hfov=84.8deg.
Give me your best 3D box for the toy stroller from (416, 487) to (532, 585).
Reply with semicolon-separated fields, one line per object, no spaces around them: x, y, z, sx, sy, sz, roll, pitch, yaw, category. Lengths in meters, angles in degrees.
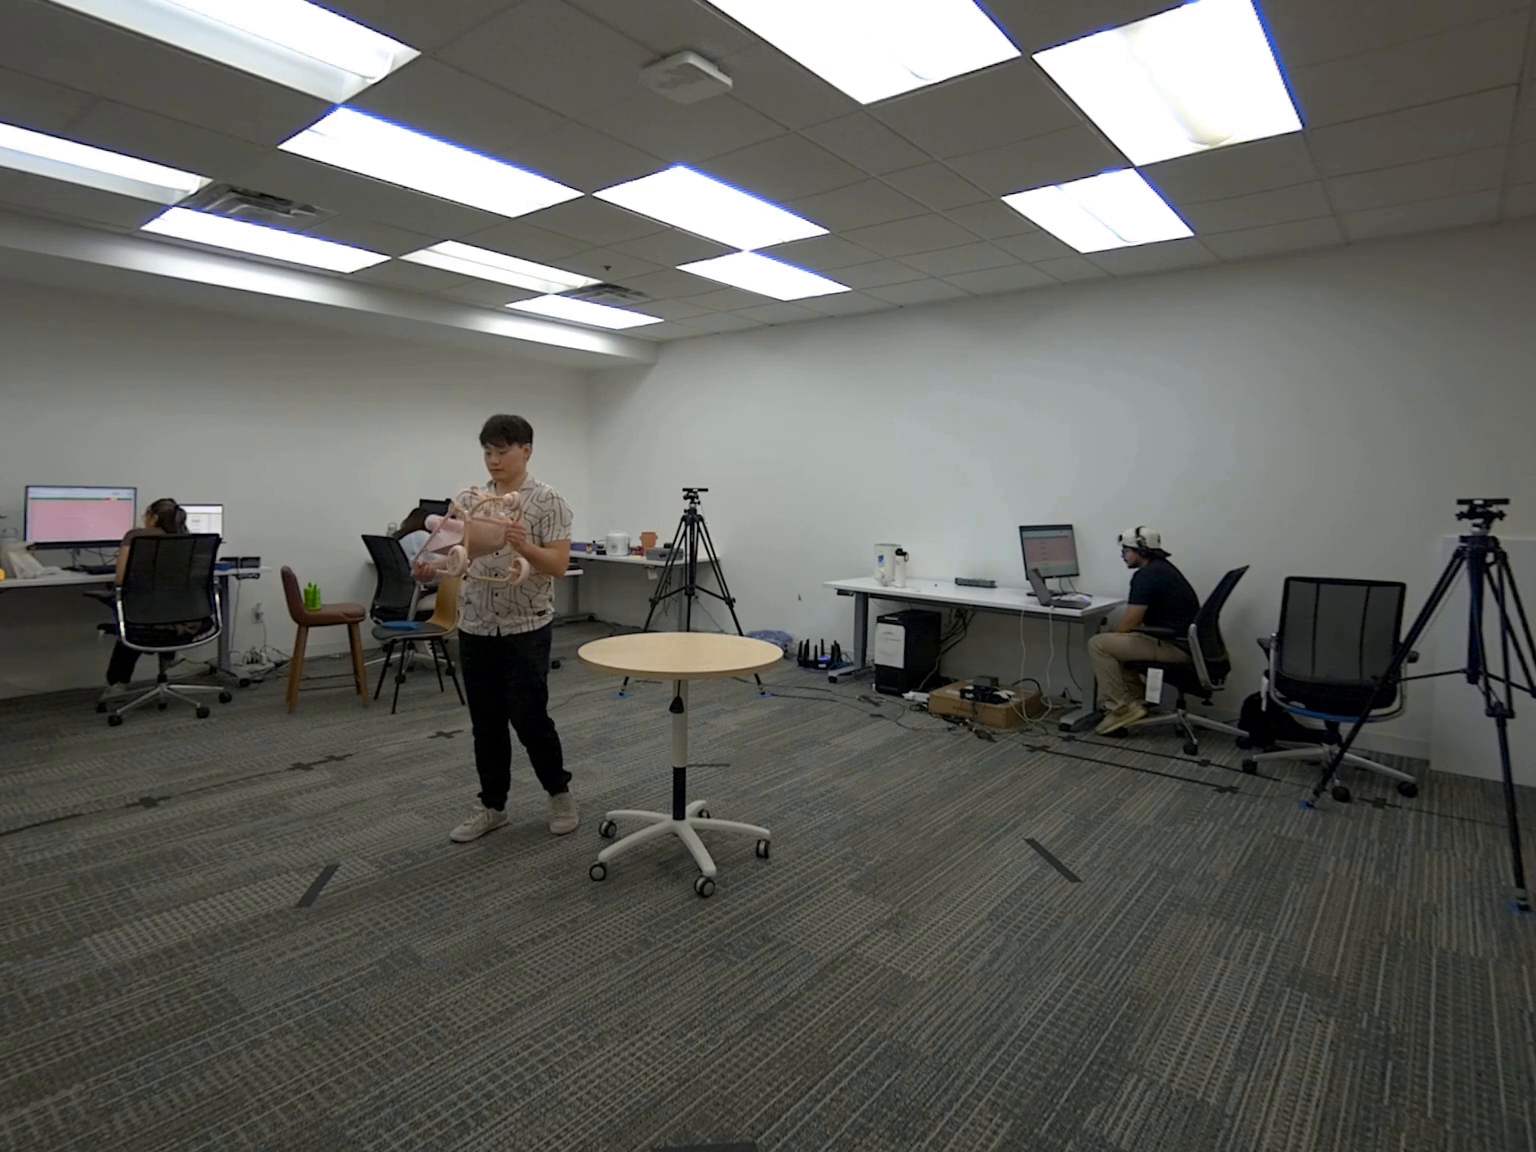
-1.094;-0.150;3.089;0.554;0.341;0.272;6;0;43;toy stroller
